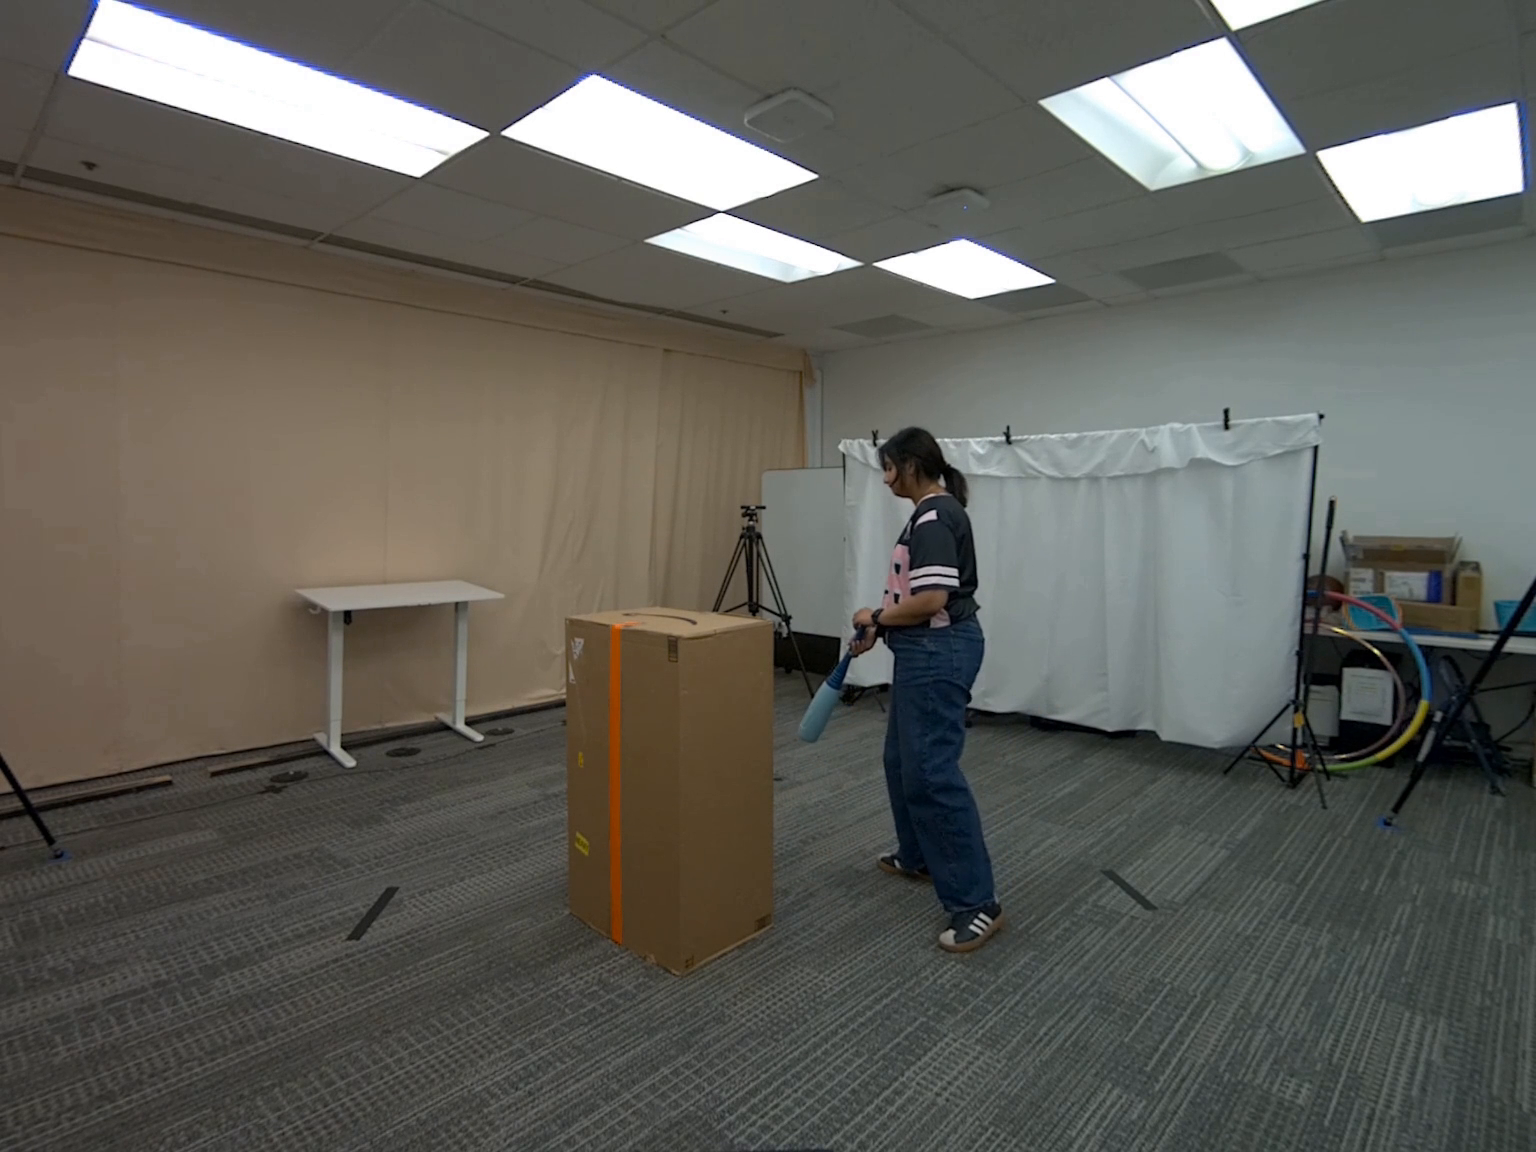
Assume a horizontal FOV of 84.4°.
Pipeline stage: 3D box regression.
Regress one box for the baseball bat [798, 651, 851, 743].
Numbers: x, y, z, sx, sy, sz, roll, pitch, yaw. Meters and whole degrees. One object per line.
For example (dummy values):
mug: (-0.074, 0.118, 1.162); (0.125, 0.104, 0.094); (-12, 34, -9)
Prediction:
baseball bat: (0.261, 0.394, 3.146); (0.088, 0.541, 0.090); (21, 21, -11)
